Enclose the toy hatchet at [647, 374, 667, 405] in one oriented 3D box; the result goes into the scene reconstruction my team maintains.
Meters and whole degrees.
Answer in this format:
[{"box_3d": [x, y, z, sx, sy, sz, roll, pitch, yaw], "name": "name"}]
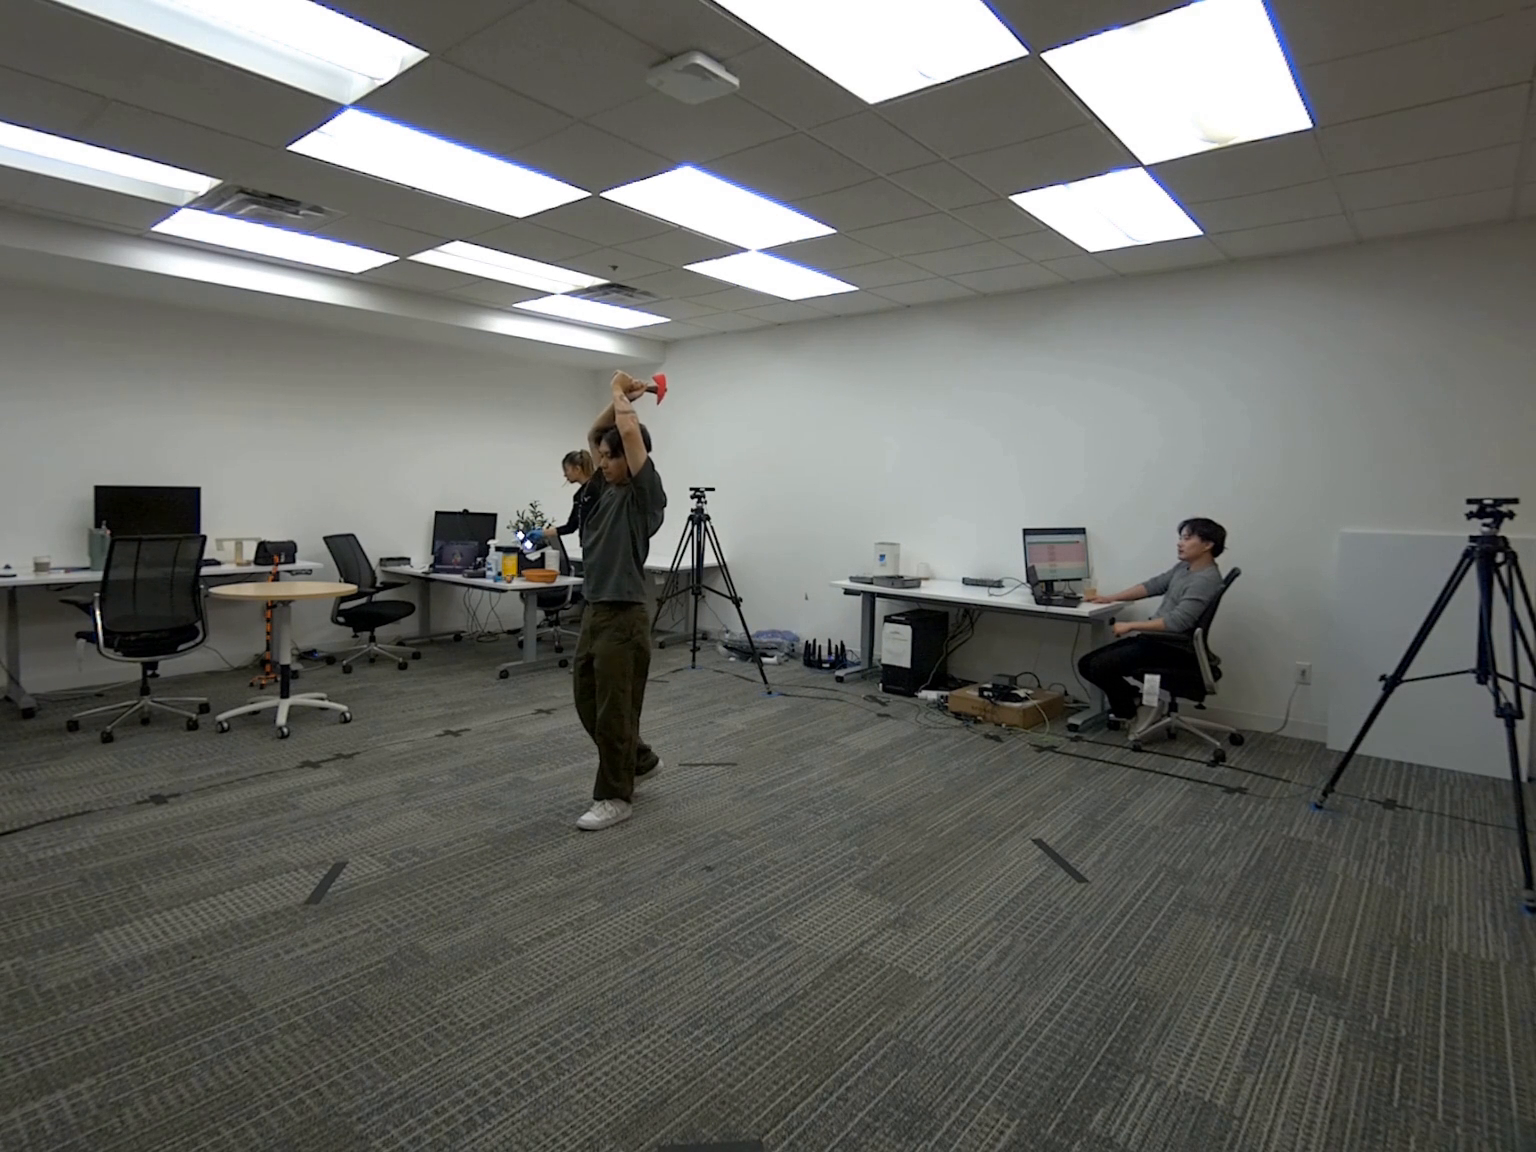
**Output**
[{"box_3d": [-0.546, -0.831, 3.570, 0.260, 0.131, 0.031, 23, 8, -36], "name": "toy hatchet"}]
